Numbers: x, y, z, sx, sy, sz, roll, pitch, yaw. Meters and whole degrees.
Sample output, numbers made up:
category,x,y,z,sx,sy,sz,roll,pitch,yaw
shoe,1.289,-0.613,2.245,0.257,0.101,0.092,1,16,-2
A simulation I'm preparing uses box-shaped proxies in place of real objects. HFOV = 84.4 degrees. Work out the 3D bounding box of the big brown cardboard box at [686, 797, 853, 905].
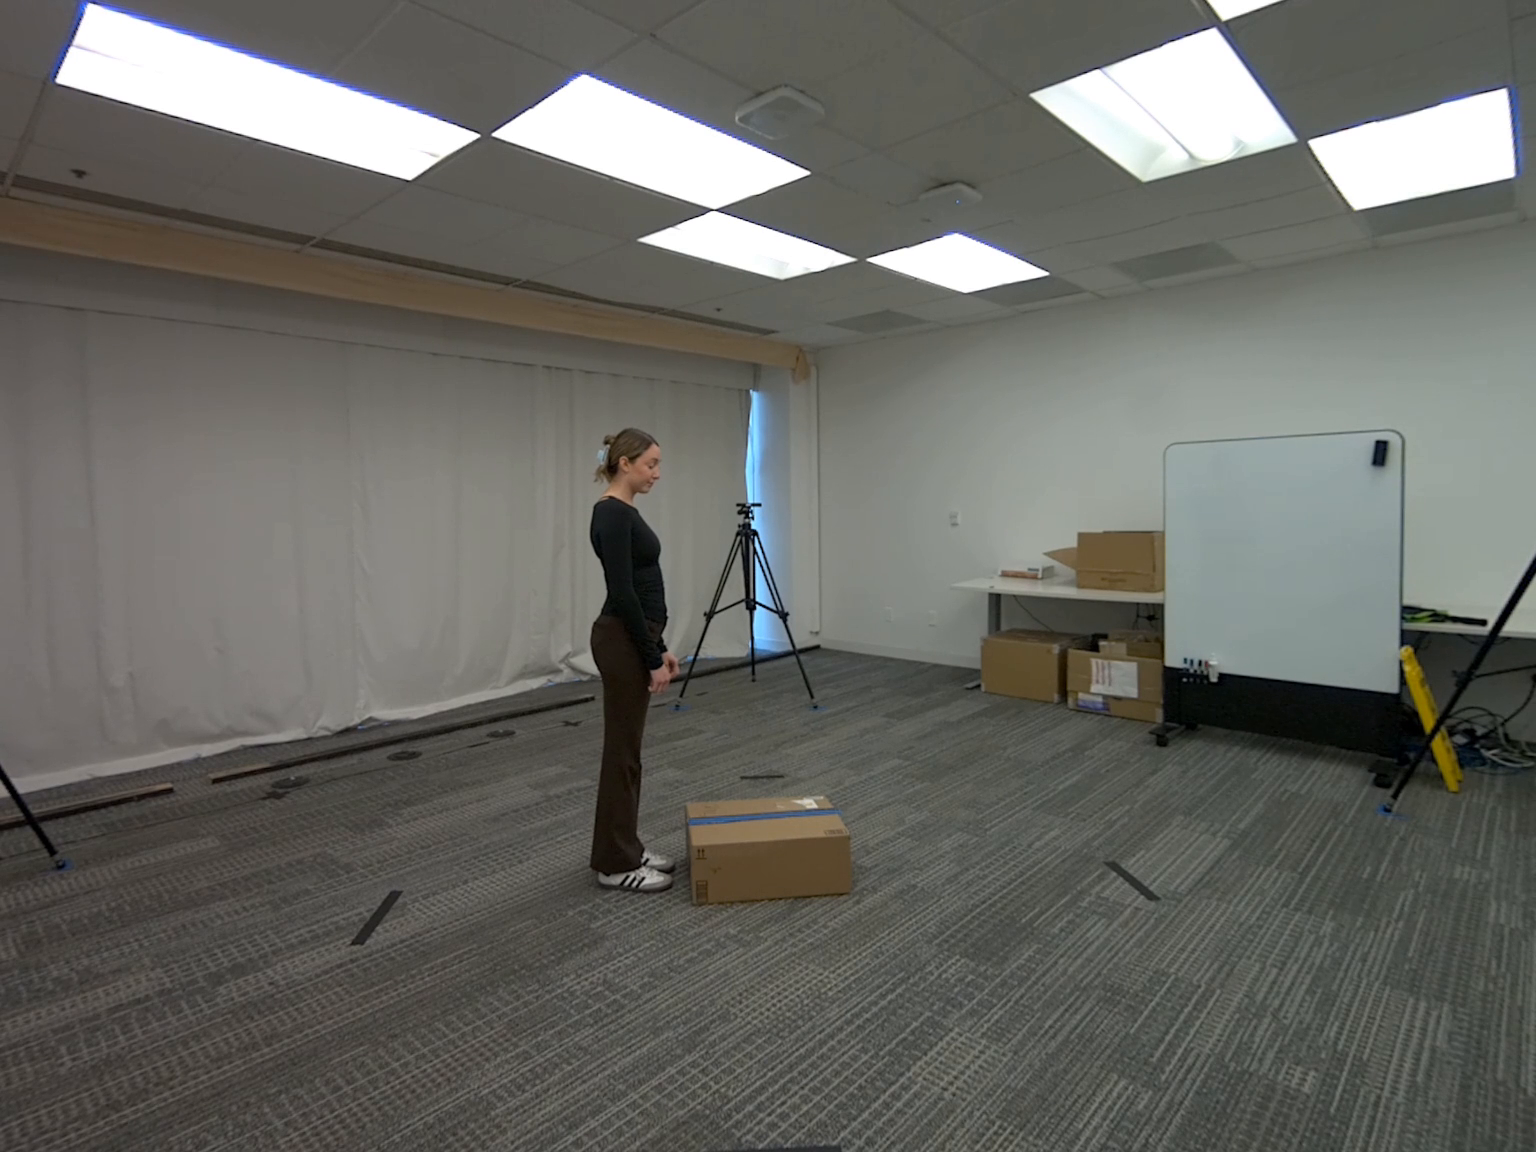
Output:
category,x,y,z,sx,sy,sz,roll,pitch,yaw
big brown cardboard box,-0.008,1.008,3.146,0.585,0.232,0.422,-3,5,-7
